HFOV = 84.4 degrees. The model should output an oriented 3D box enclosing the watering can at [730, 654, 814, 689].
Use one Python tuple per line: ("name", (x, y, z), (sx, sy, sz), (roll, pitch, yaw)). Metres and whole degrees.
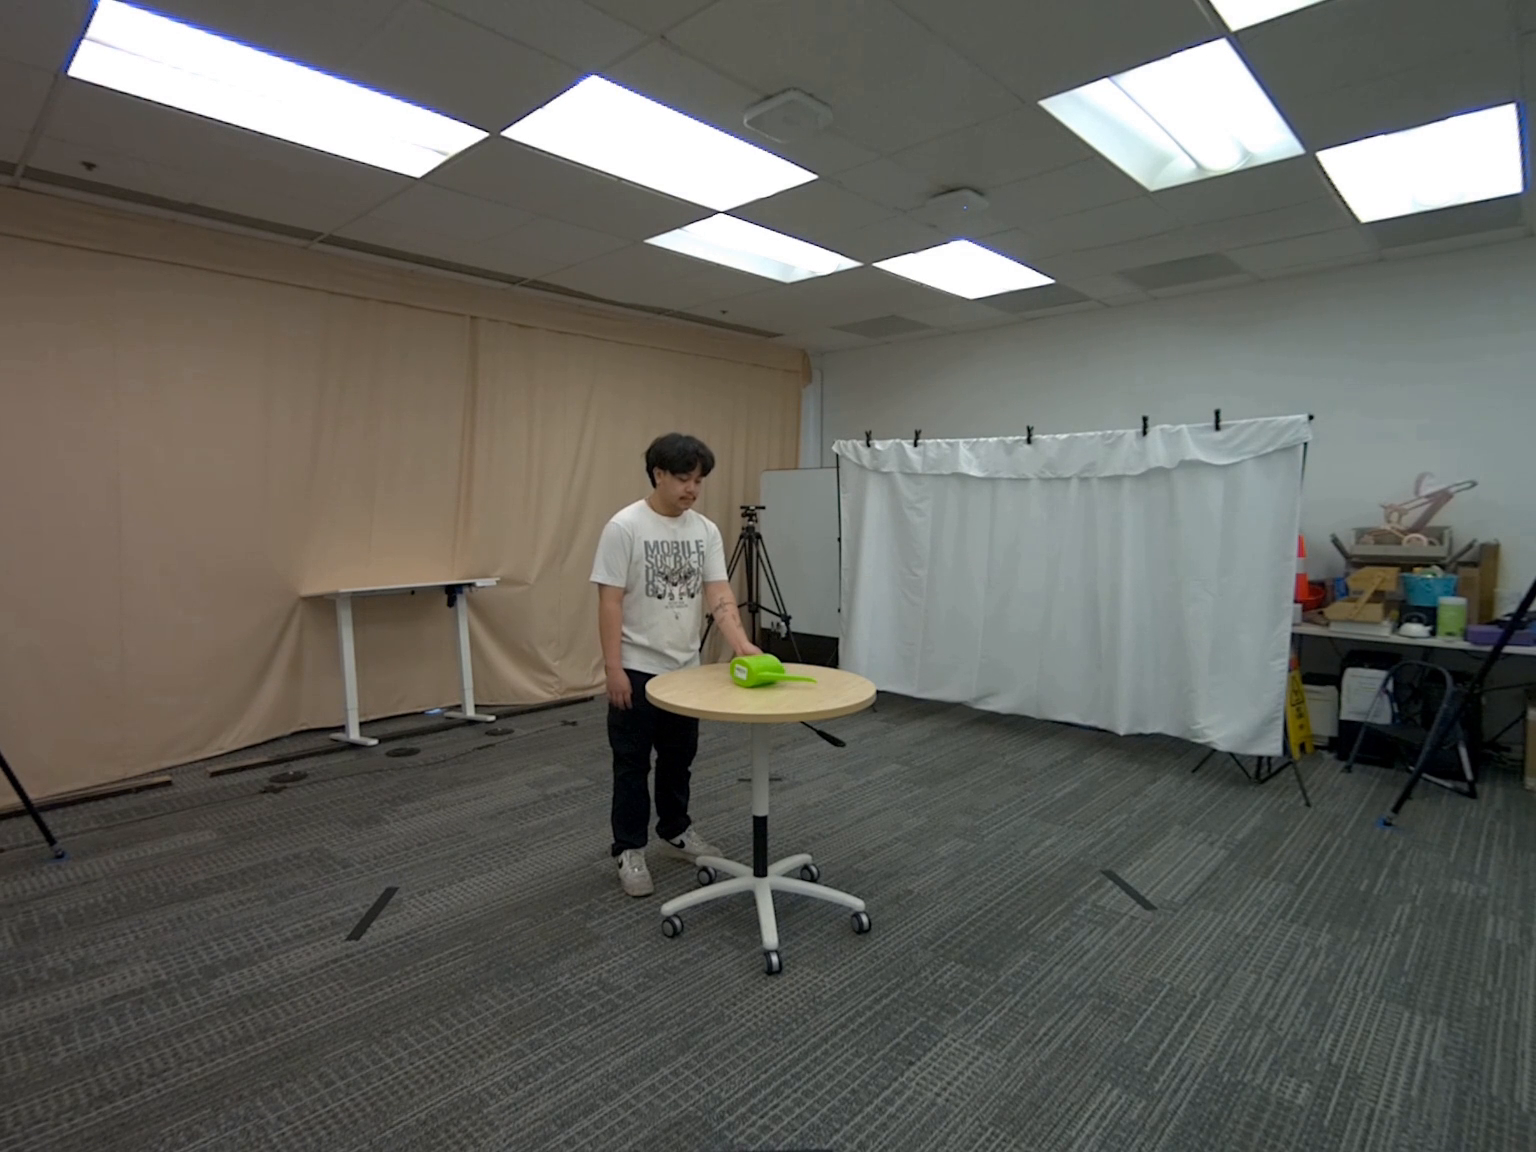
("watering can", (0.009, 0.313, 2.801), (0.171, 0.098, 0.287), (-5, 1, -41))
